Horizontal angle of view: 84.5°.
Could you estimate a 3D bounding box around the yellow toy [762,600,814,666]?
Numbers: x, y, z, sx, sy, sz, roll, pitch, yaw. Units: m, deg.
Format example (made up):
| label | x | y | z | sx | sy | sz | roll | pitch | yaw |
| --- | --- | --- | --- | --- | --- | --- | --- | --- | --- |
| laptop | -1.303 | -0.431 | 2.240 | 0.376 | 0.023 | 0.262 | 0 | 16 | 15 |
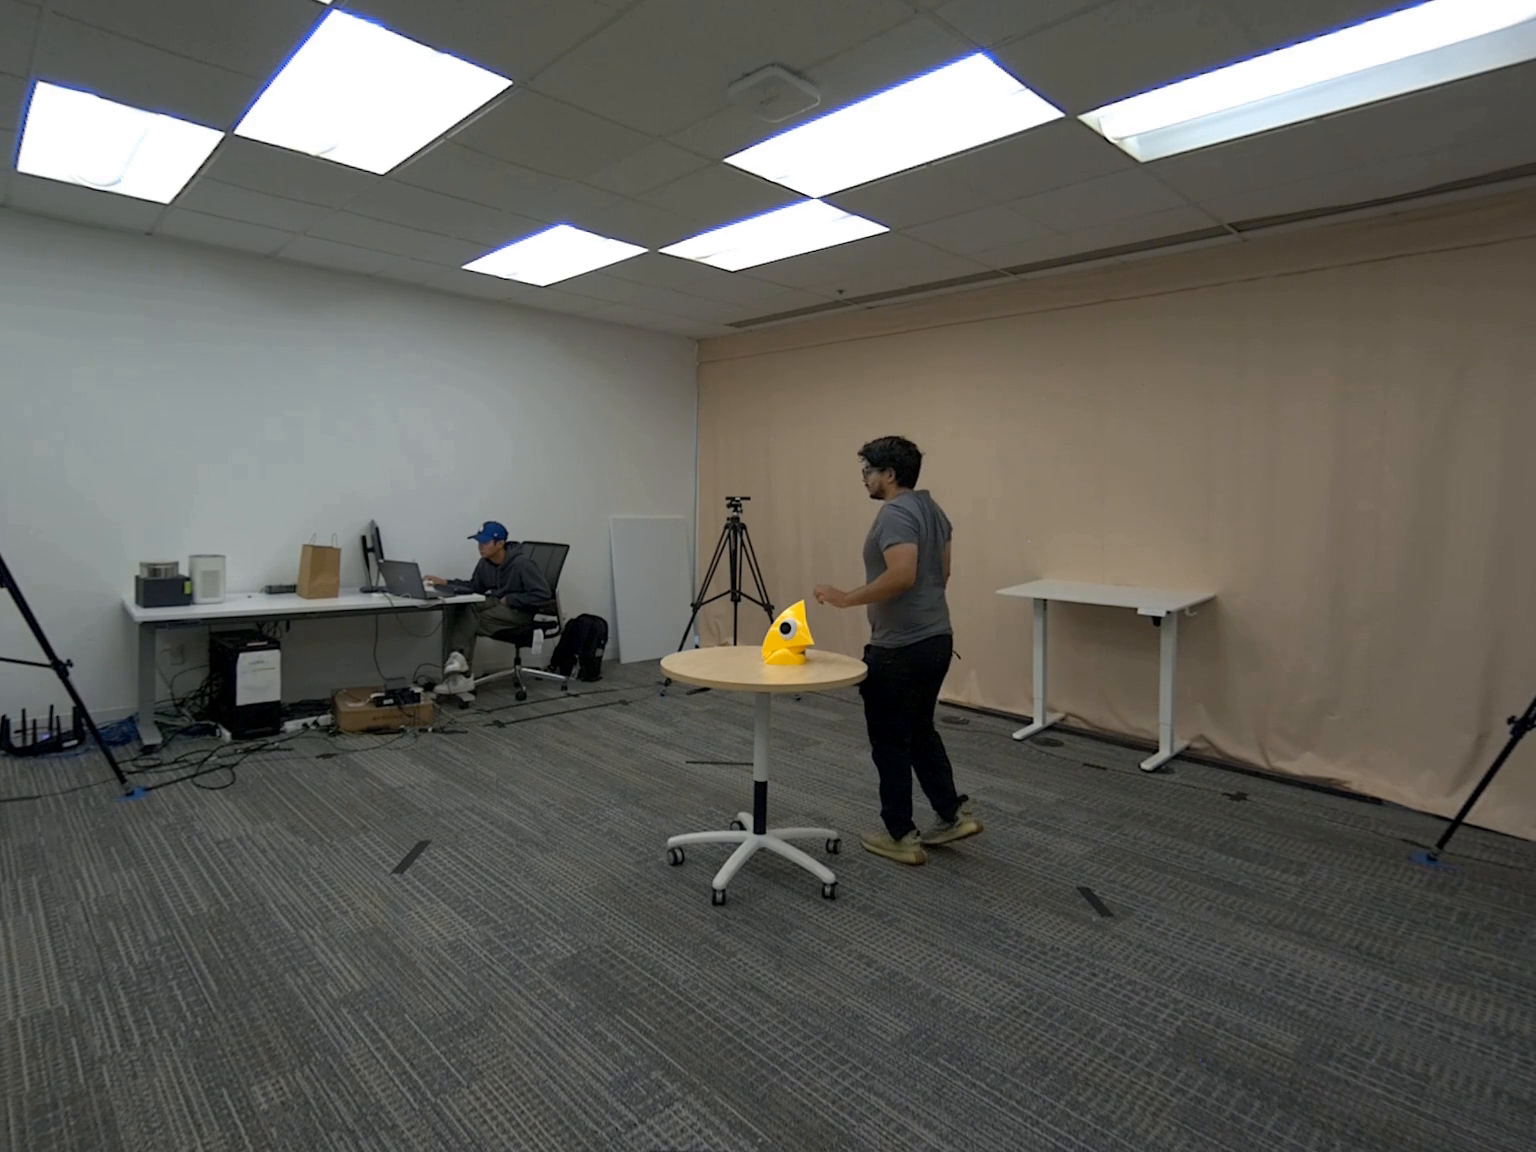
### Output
| label | x | y | z | sx | sy | sz | roll | pitch | yaw |
| --- | --- | --- | --- | --- | --- | --- | --- | --- | --- |
| yellow toy | 0.069 | 0.205 | 3.186 | 0.192 | 0.230 | 0.206 | 3 | 4 | -4 |
